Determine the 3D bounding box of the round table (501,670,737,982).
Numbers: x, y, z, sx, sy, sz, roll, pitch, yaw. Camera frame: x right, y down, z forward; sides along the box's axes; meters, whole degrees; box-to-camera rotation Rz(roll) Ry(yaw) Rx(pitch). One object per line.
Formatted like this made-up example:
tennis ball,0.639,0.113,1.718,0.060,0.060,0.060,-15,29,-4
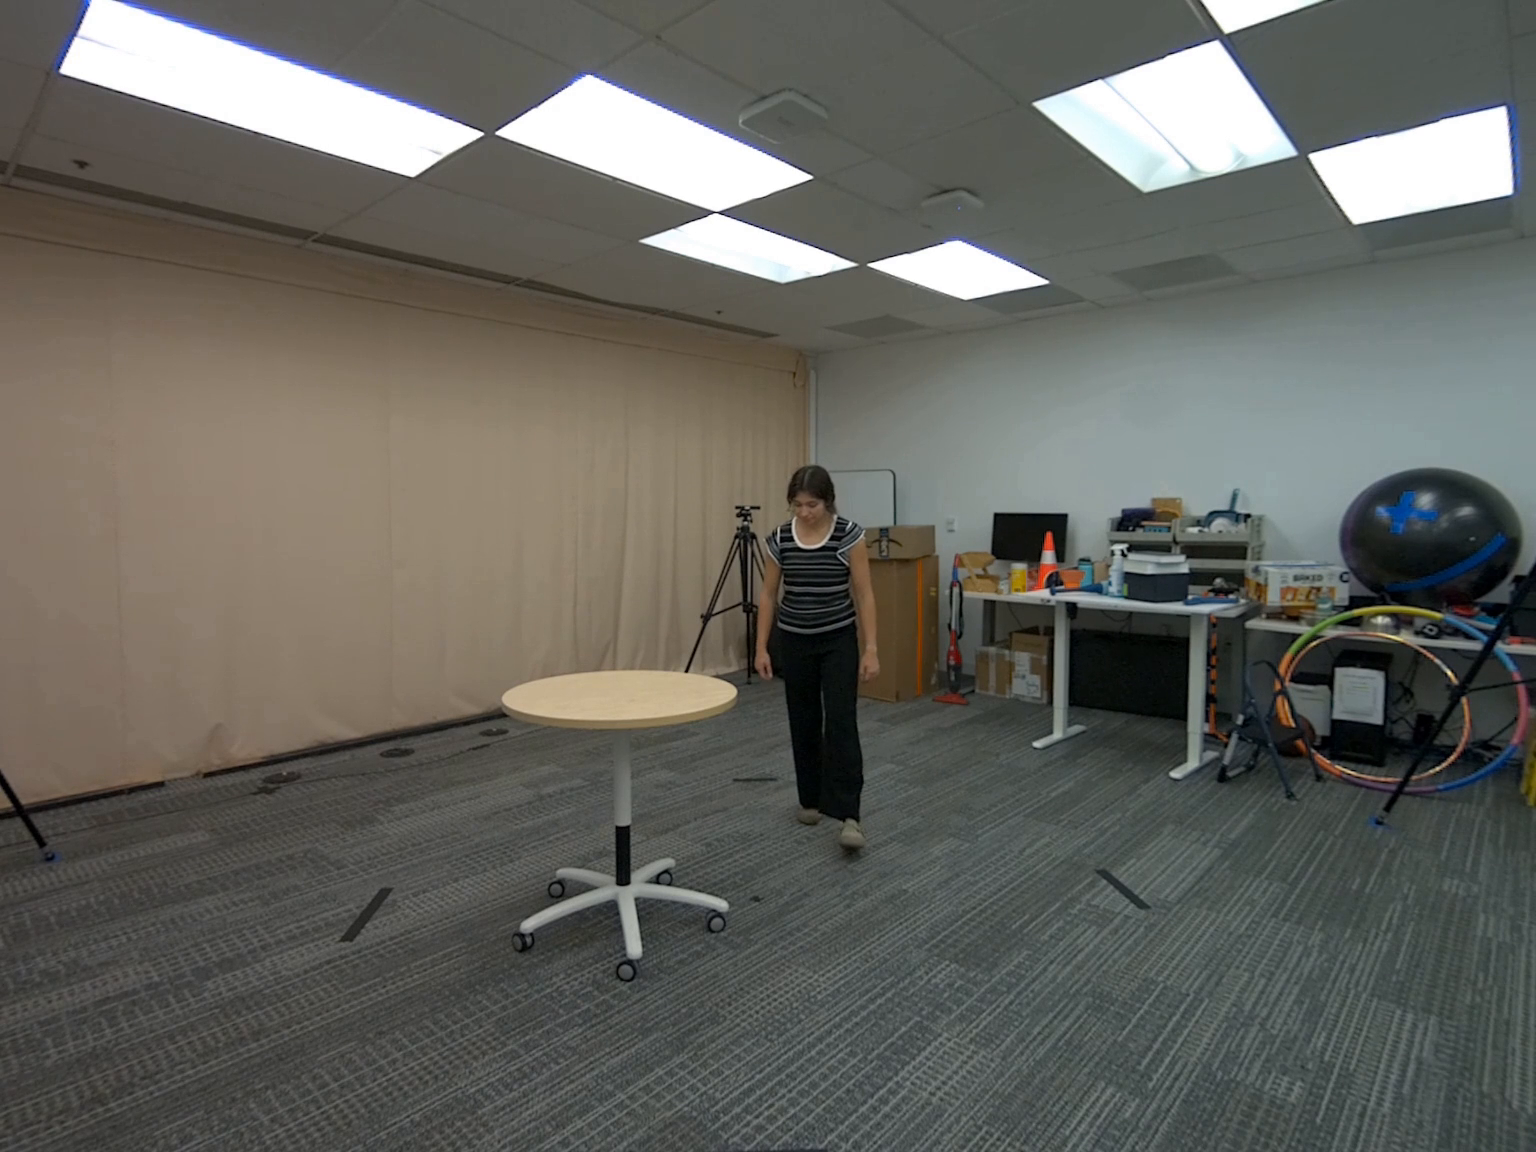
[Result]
round table,-0.482,0.777,2.784,0.763,0.792,0.766,0,3,-2
